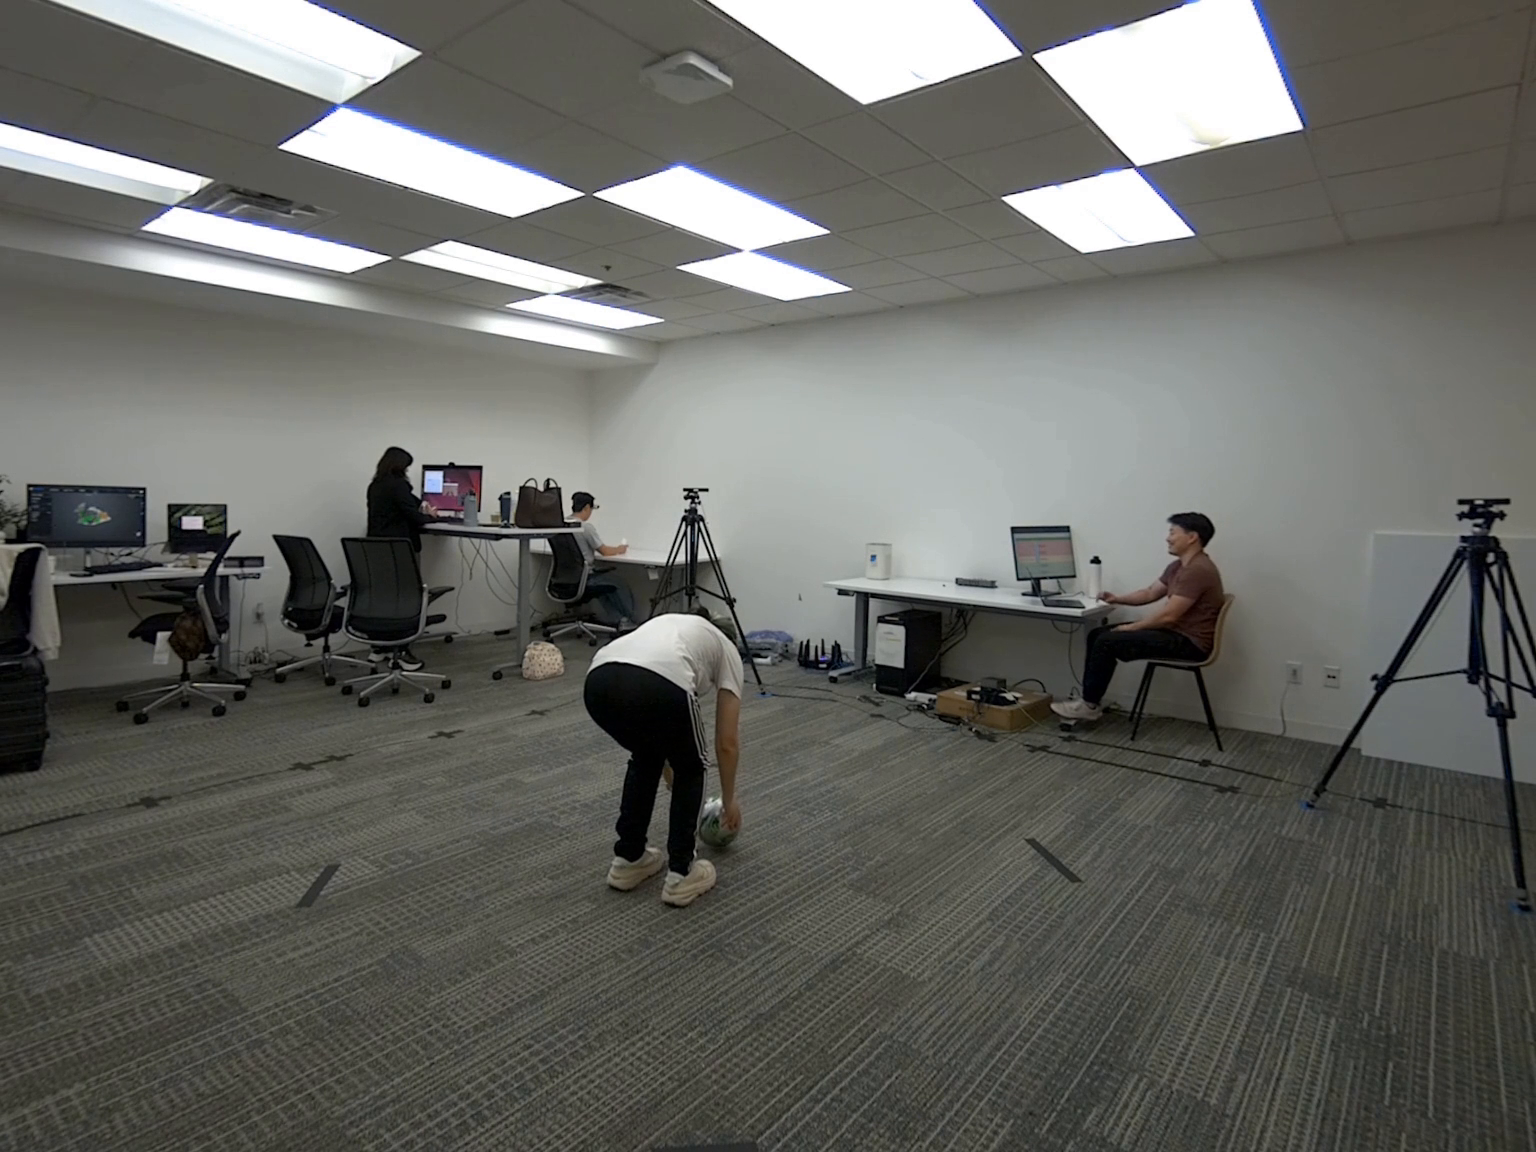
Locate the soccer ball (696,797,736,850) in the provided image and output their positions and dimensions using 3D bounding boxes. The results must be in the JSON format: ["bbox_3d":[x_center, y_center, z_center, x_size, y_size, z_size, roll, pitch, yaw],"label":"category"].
[{"bbox_3d":[-0.205,0.941,3.291,0.187,0.187,0.188,1,4,-2],"label":"soccer ball"}]
